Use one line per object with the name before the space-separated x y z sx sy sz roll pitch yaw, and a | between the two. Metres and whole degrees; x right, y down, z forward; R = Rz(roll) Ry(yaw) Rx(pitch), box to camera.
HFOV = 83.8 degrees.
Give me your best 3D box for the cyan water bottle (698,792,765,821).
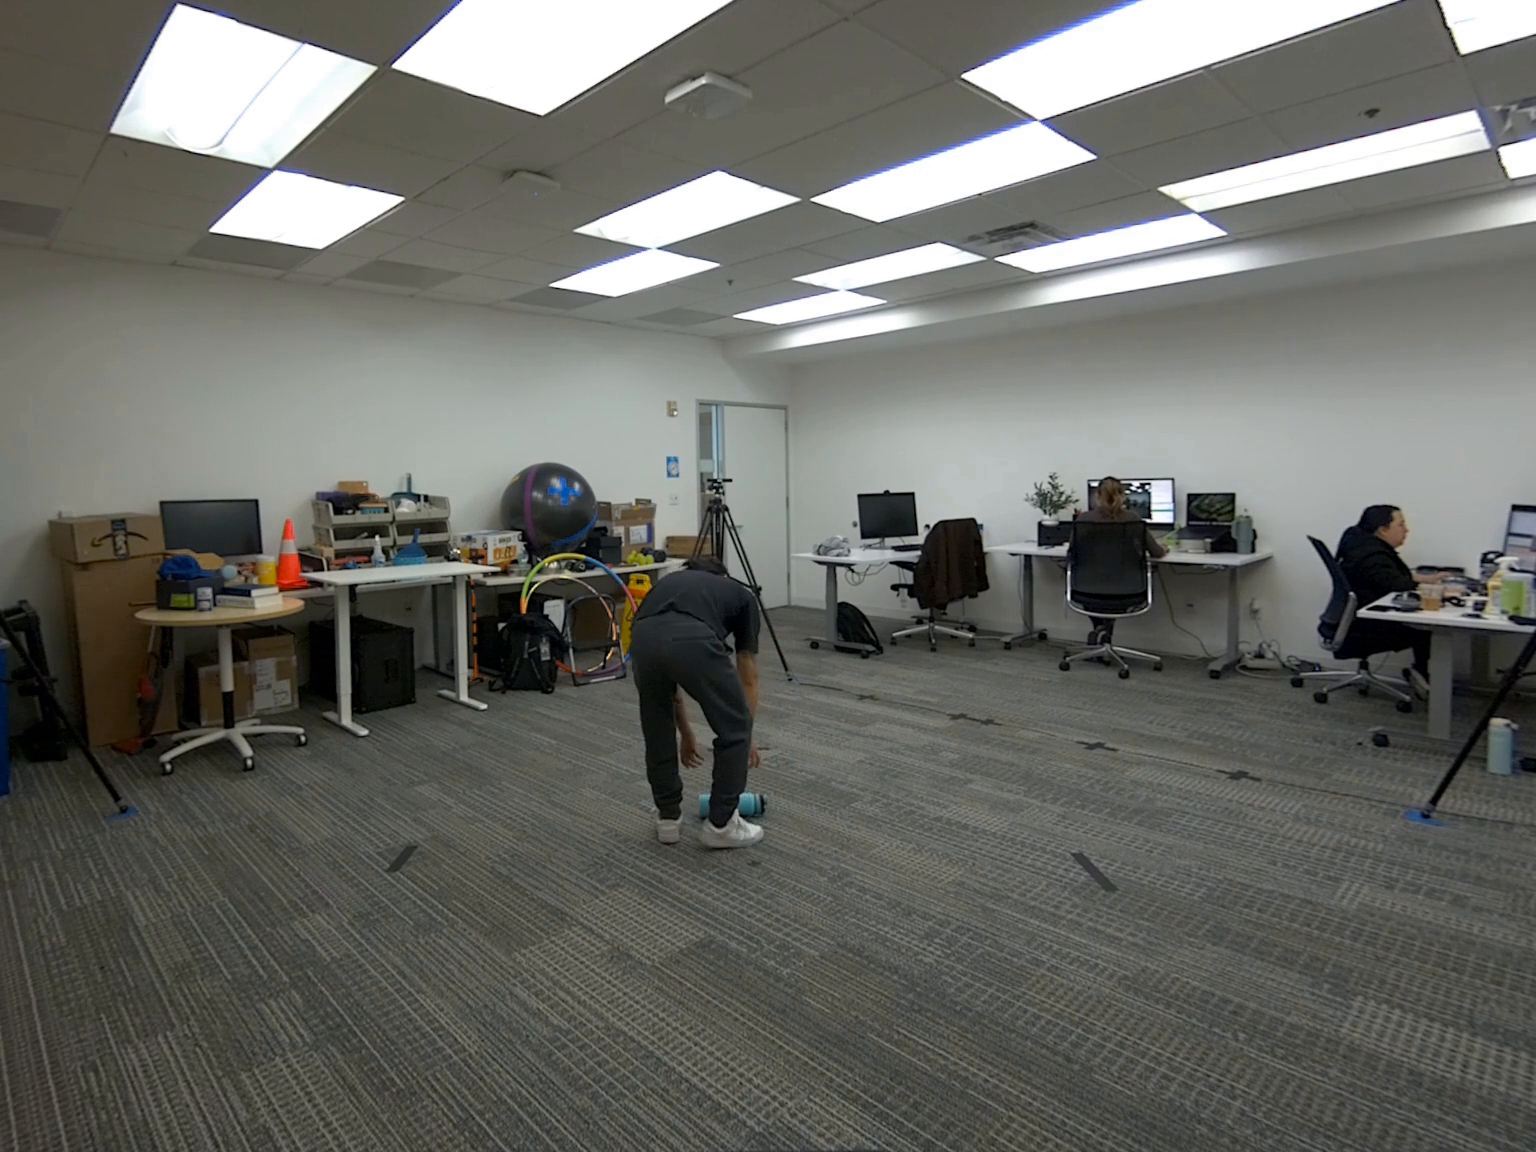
cyan water bottle | -0.145 0.949 3.551 0.283 0.092 0.093 -1 5 -2
